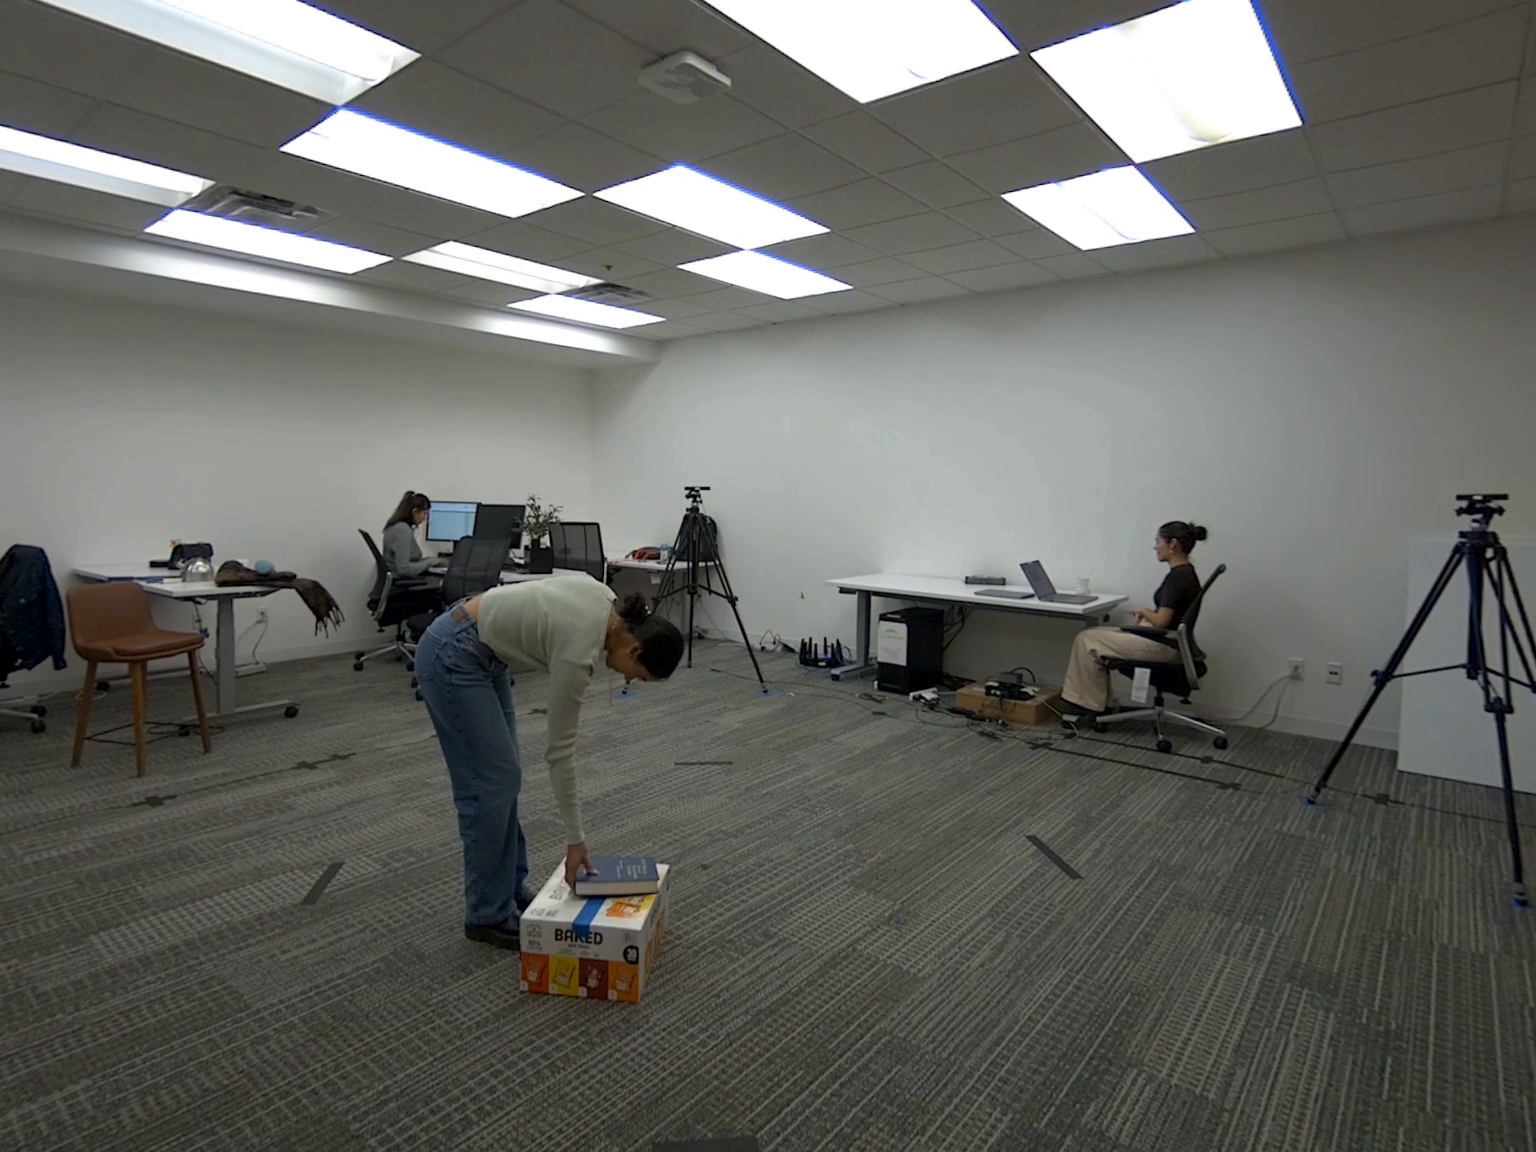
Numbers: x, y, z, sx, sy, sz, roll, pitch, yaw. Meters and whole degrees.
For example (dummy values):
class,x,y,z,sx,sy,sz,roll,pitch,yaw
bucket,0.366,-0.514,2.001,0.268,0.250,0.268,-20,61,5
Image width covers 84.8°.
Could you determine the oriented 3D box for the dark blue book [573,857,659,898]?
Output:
class,x,y,z,sx,sy,sz,roll,pitch,yaw
dark blue book,-0.465,0.899,2.533,0.242,0.045,0.166,2,7,-11
